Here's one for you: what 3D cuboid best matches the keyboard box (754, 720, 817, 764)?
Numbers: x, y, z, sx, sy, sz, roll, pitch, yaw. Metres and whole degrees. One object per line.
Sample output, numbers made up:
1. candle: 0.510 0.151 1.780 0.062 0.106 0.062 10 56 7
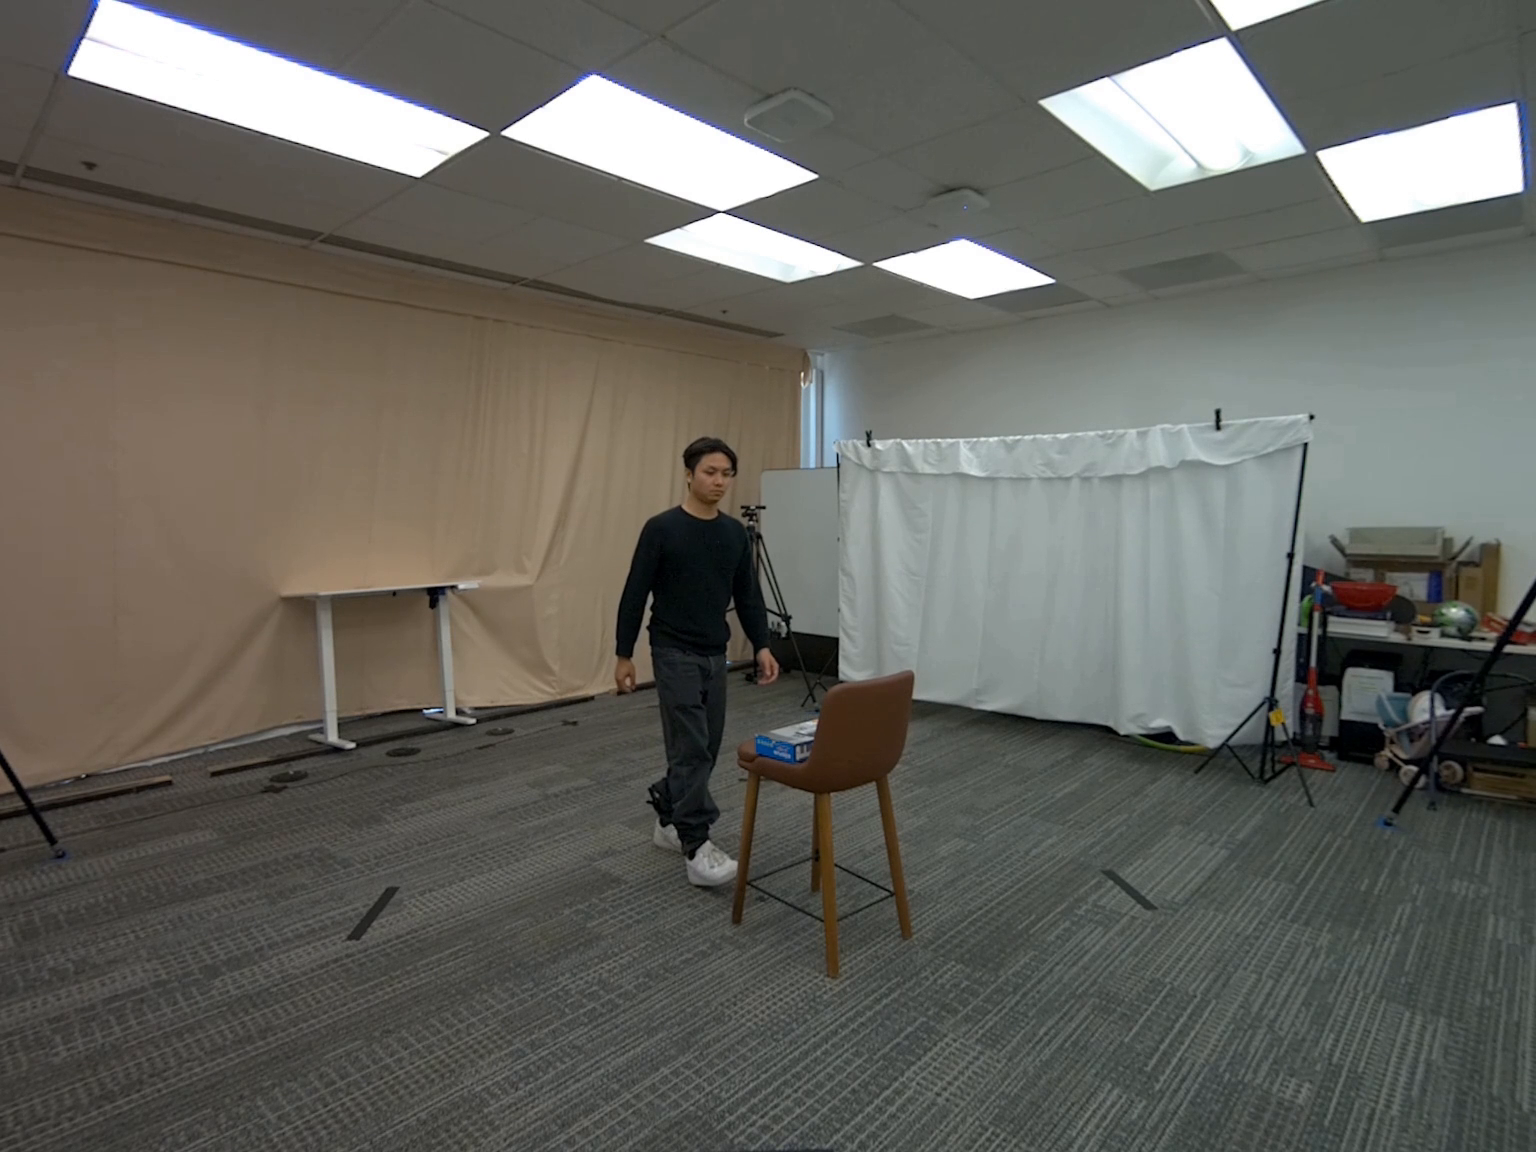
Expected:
1. keyboard box: 0.179 0.514 2.729 0.423 0.059 0.182 -5 4 -43
